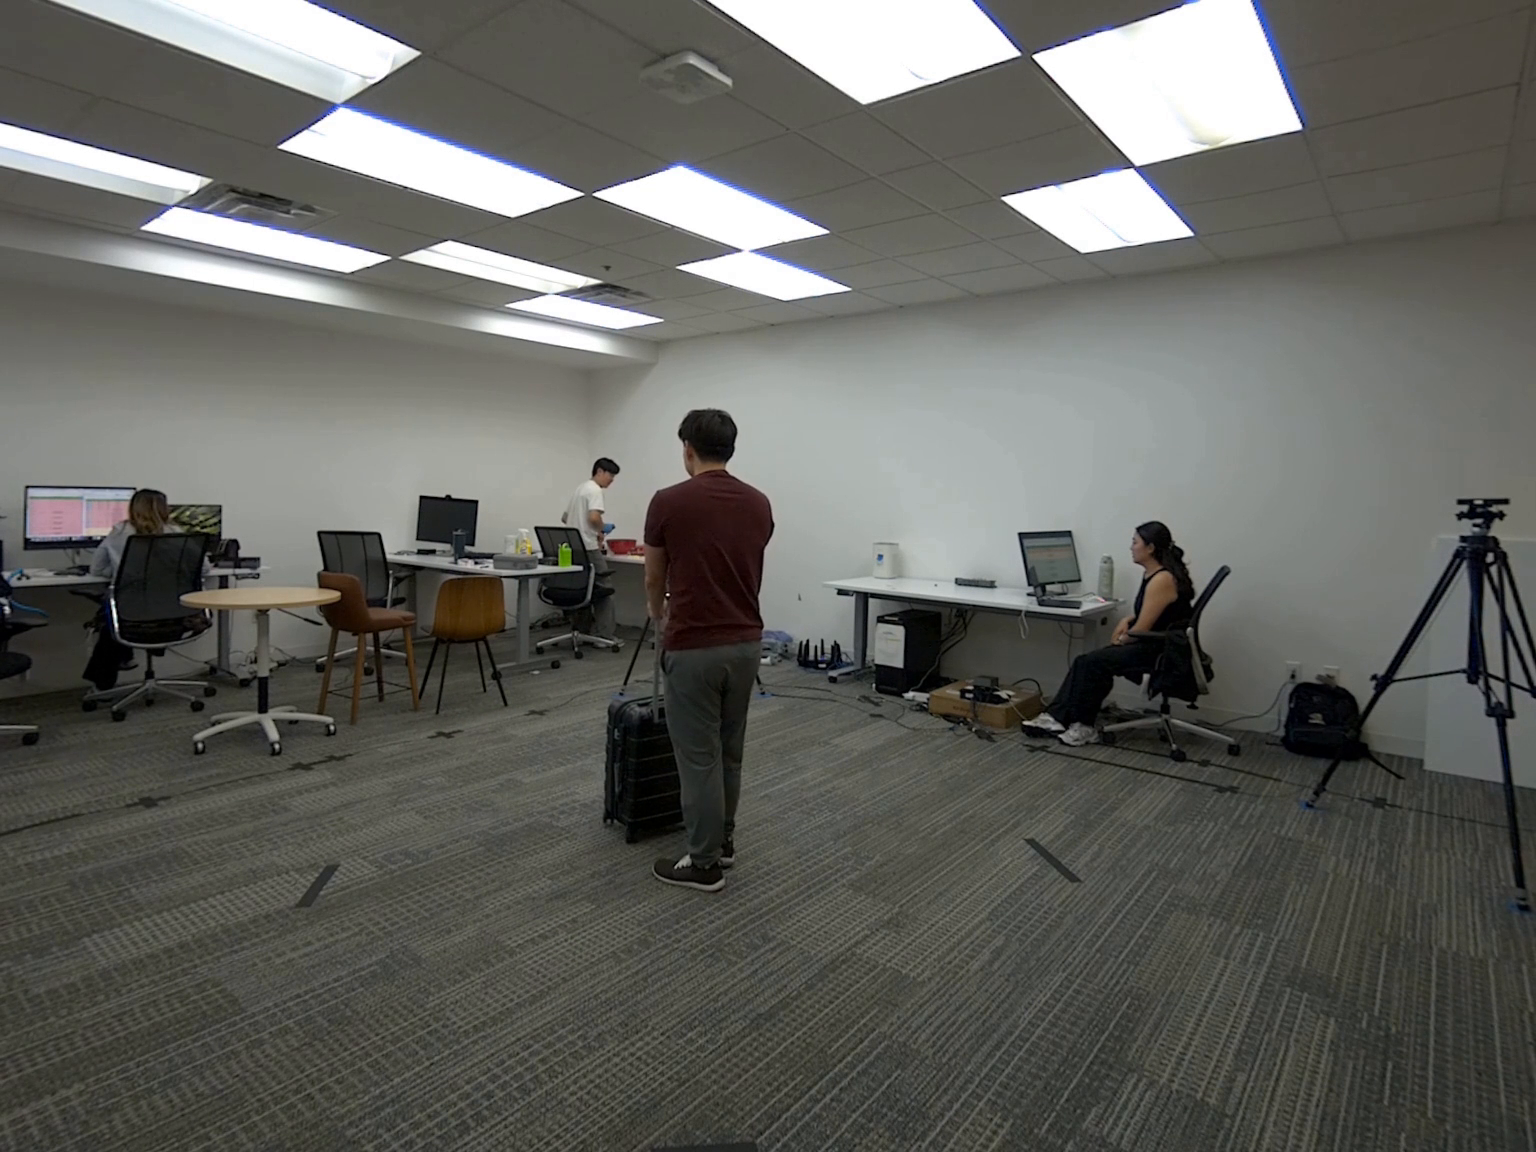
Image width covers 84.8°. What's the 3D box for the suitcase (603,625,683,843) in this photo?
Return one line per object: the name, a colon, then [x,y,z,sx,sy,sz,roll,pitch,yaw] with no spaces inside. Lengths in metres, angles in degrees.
suitcase: [-0.472,0.550,3.445,0.373,0.974,0.265,-2,6,-33]
